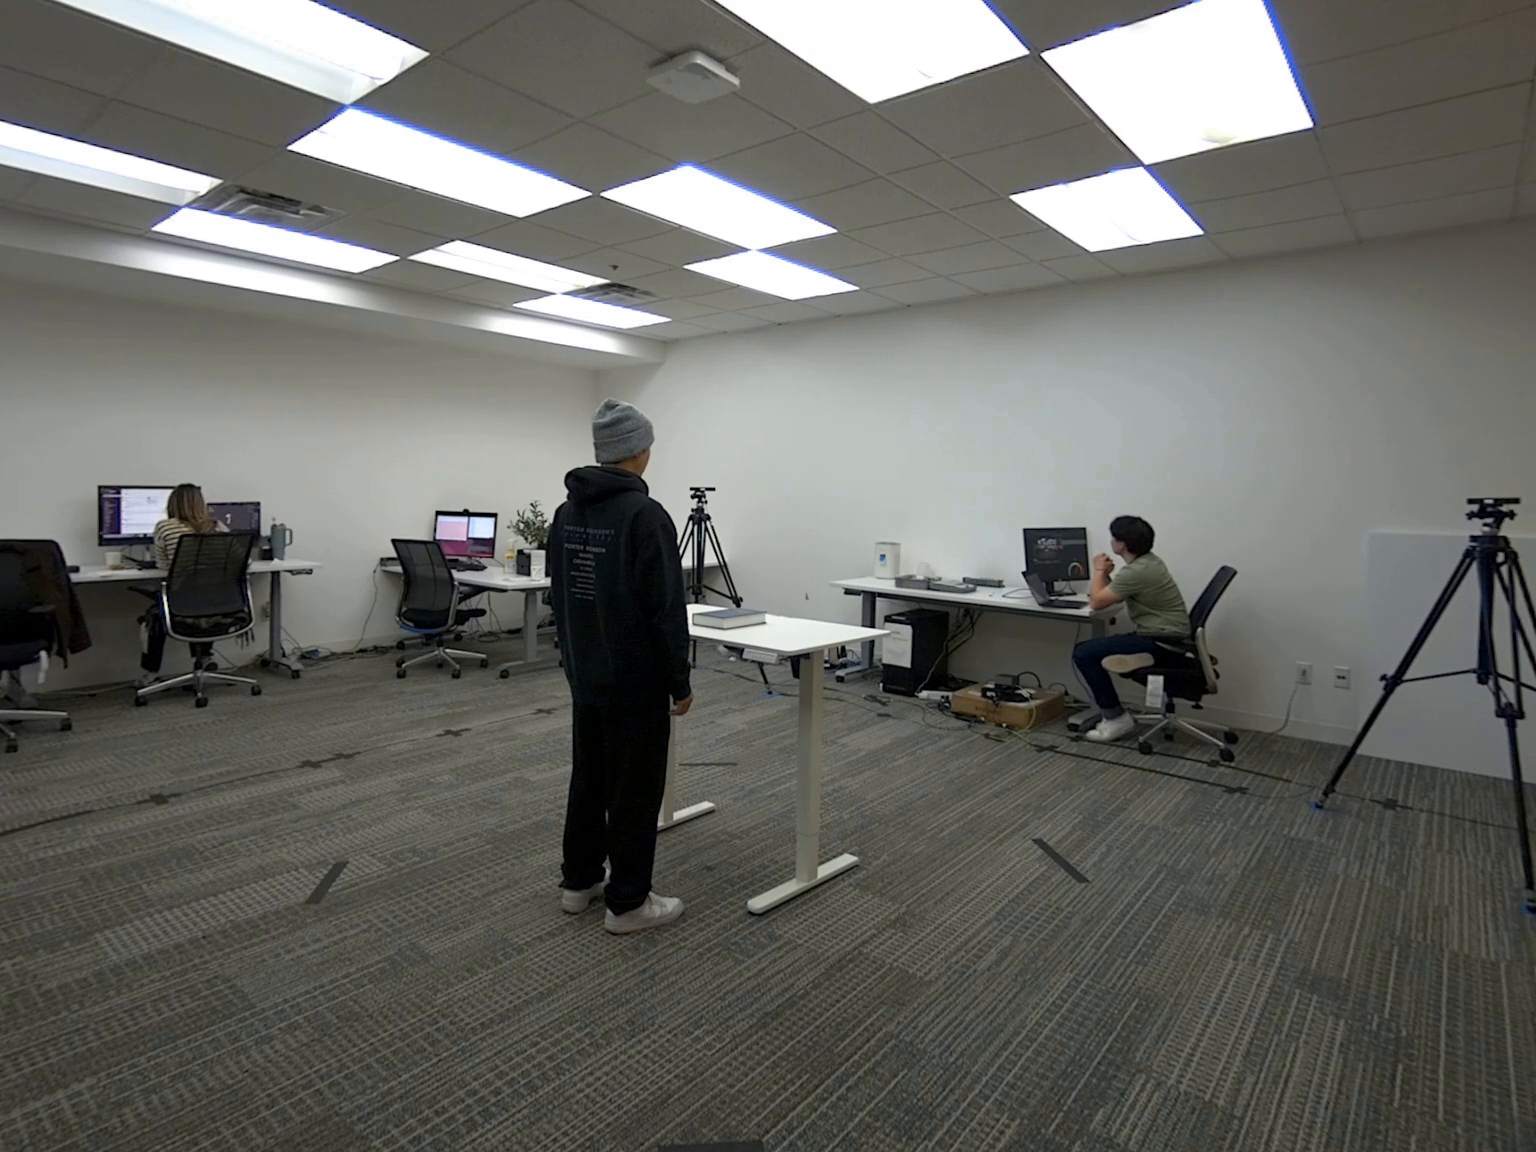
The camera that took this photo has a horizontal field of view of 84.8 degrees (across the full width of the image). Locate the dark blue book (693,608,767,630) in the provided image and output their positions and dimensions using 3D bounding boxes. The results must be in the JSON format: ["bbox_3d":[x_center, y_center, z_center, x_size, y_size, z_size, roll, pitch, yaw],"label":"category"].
[{"bbox_3d":[-0.151,0.157,3.194,0.169,0.045,0.238,5,7,40],"label":"dark blue book"}]
